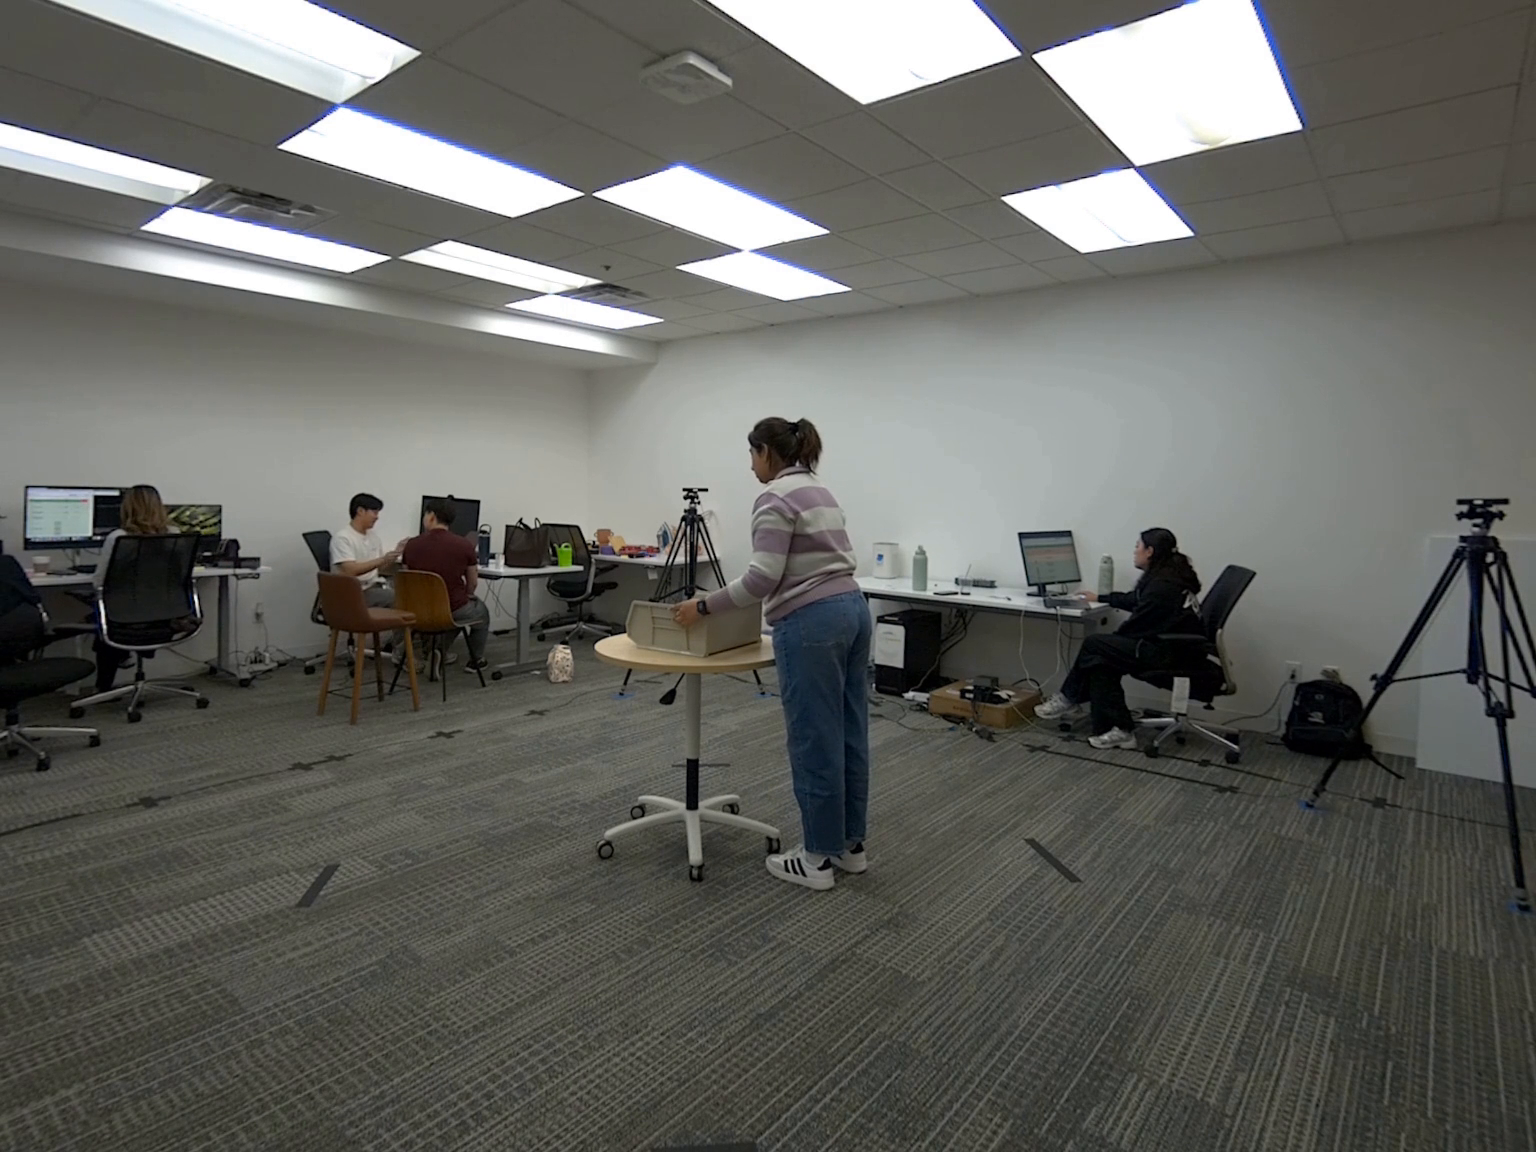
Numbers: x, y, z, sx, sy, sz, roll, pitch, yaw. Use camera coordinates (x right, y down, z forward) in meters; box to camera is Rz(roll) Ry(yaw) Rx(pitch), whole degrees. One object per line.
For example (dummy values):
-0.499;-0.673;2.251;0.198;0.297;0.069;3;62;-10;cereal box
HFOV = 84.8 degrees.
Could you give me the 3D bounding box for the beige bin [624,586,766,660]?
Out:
-0.281;0.172;3.313;0.389;0.188;0.411;6;7;31;beige bin
